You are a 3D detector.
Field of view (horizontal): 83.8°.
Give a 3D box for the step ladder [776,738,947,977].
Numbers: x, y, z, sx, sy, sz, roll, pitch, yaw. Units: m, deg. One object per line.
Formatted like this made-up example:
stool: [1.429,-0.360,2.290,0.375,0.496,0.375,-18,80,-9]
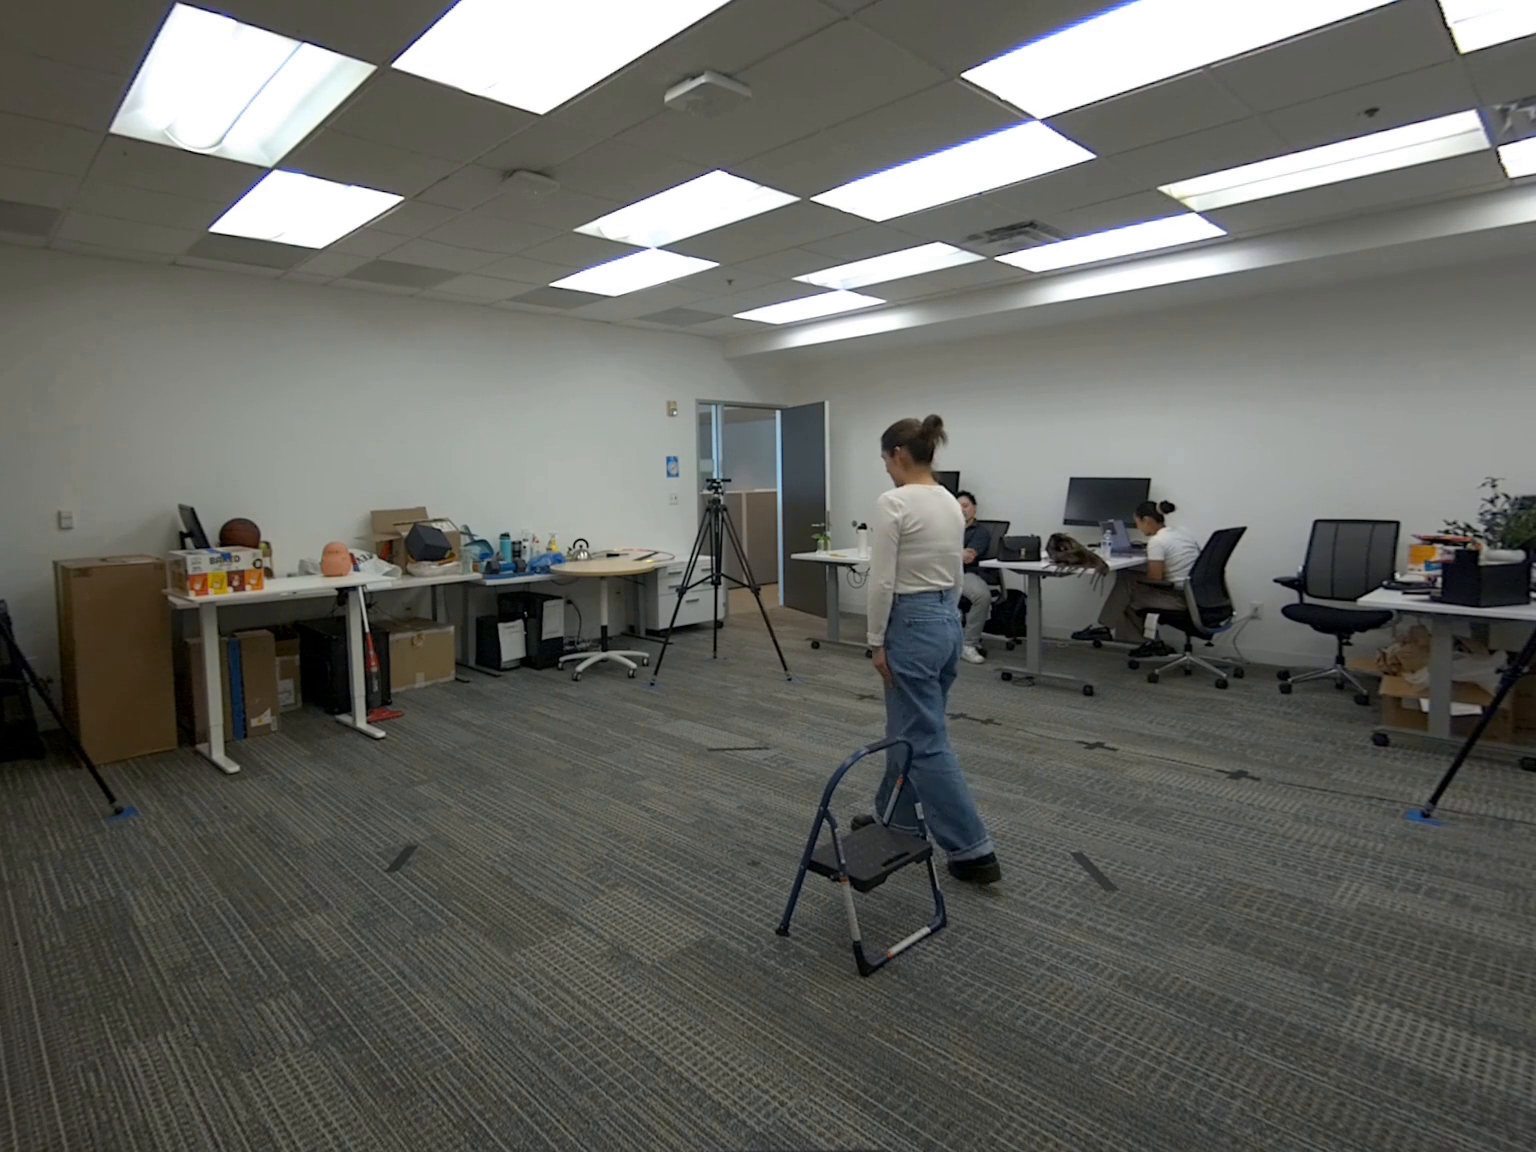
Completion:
step ladder: [0.289,0.792,2.624,0.360,0.604,0.419,3,6,45]
